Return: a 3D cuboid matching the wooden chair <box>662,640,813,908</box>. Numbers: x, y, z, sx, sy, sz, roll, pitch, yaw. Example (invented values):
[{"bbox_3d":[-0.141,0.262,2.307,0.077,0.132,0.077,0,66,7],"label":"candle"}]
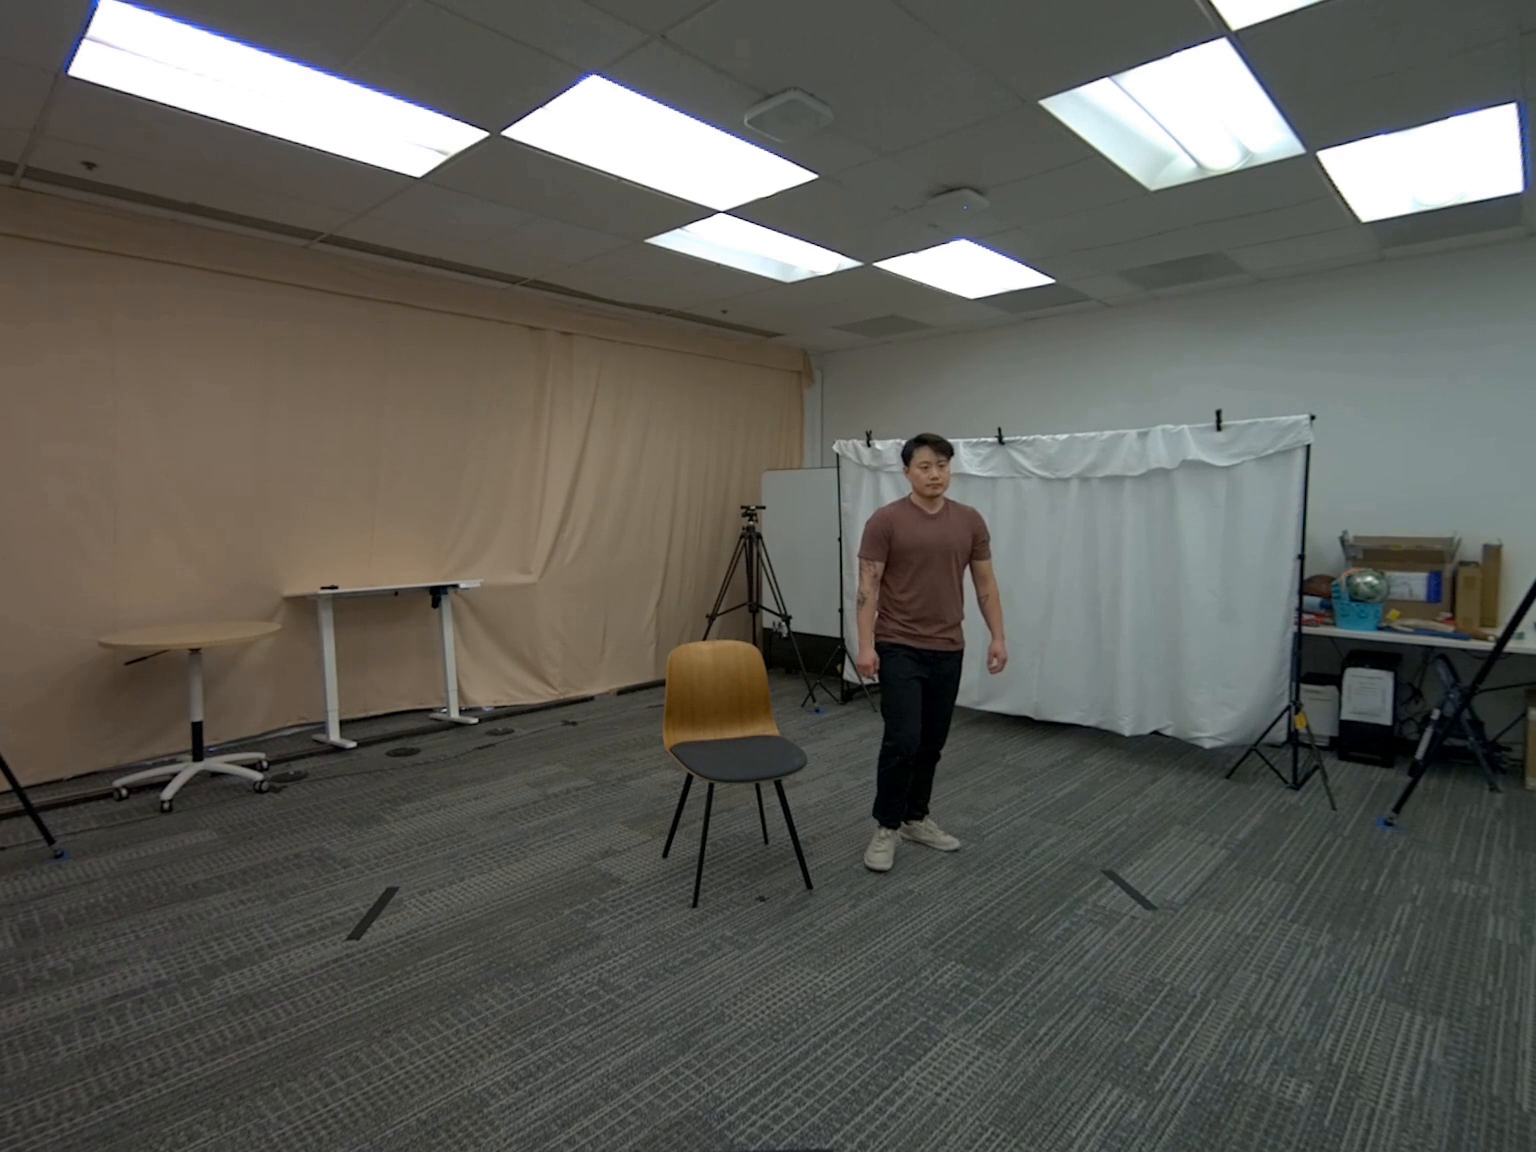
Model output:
[{"bbox_3d":[-0.126,0.702,3.157,0.469,0.878,0.533,-1,-1,-19],"label":"wooden chair"}]
